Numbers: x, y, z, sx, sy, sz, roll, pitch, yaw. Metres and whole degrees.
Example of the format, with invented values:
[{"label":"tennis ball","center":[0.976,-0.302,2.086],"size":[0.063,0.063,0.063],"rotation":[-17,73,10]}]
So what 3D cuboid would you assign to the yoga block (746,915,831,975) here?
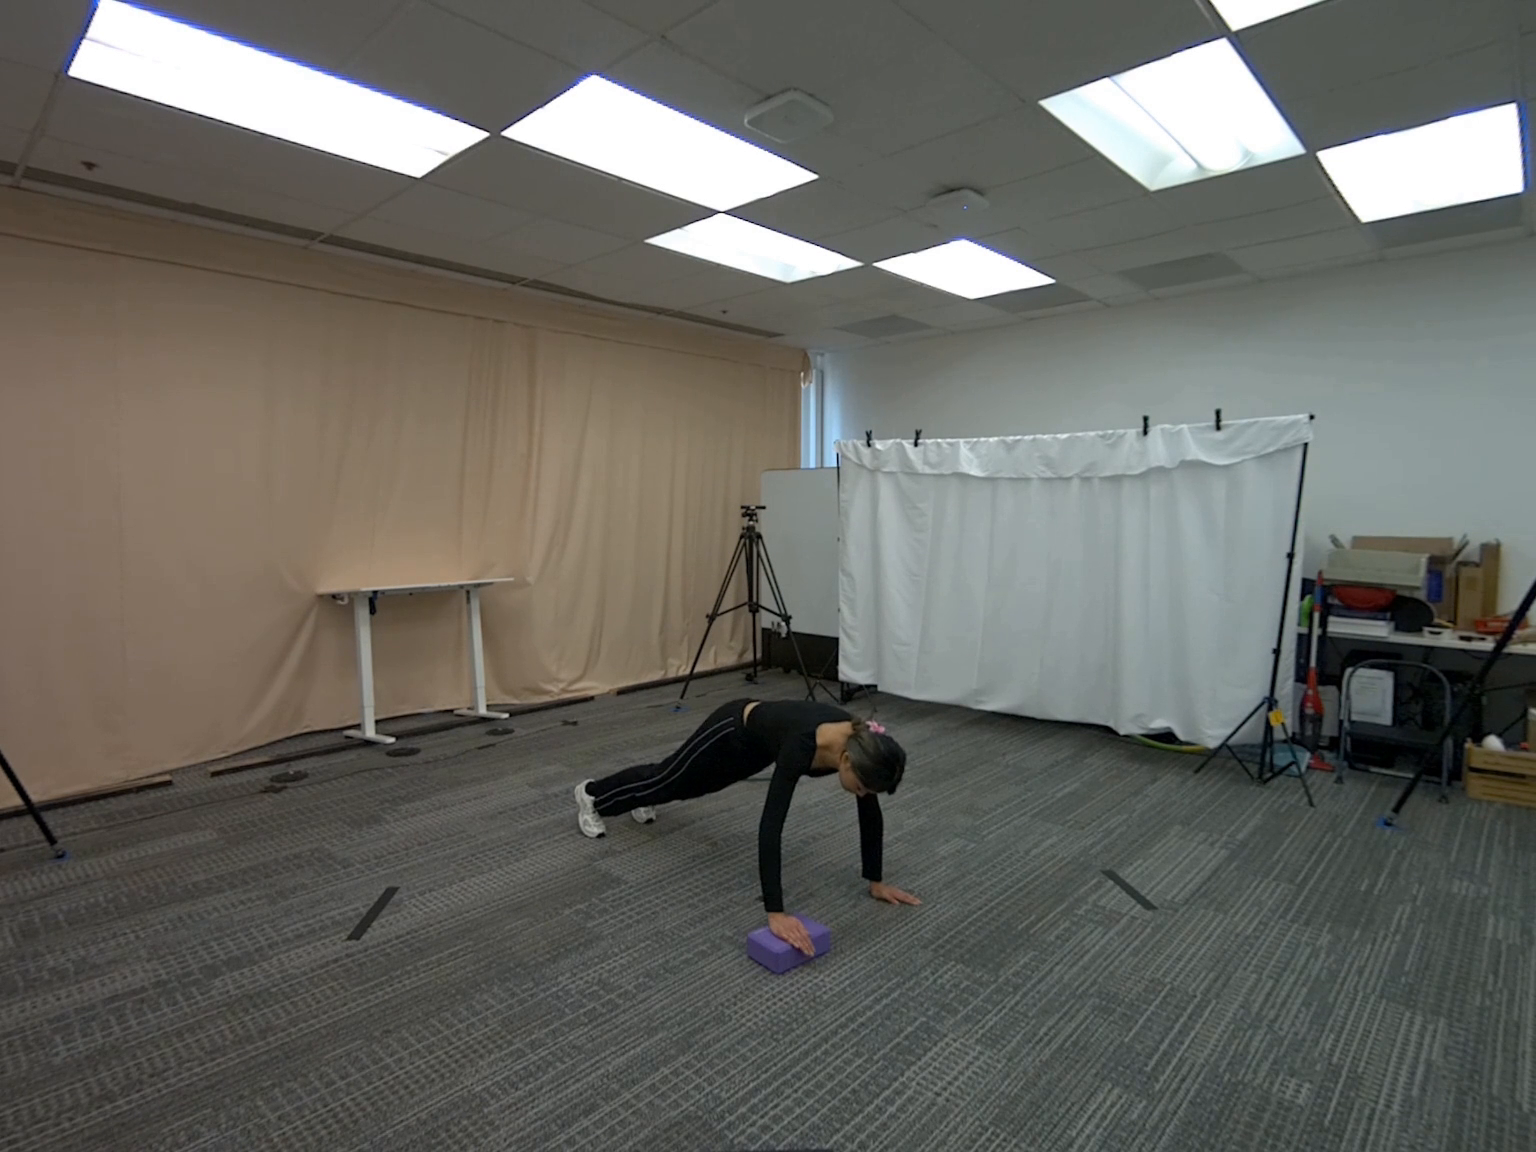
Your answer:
[{"label":"yoga block","center":[0.068,1.135,2.616],"size":[0.222,0.076,0.154],"rotation":[-6,7,-39]}]
